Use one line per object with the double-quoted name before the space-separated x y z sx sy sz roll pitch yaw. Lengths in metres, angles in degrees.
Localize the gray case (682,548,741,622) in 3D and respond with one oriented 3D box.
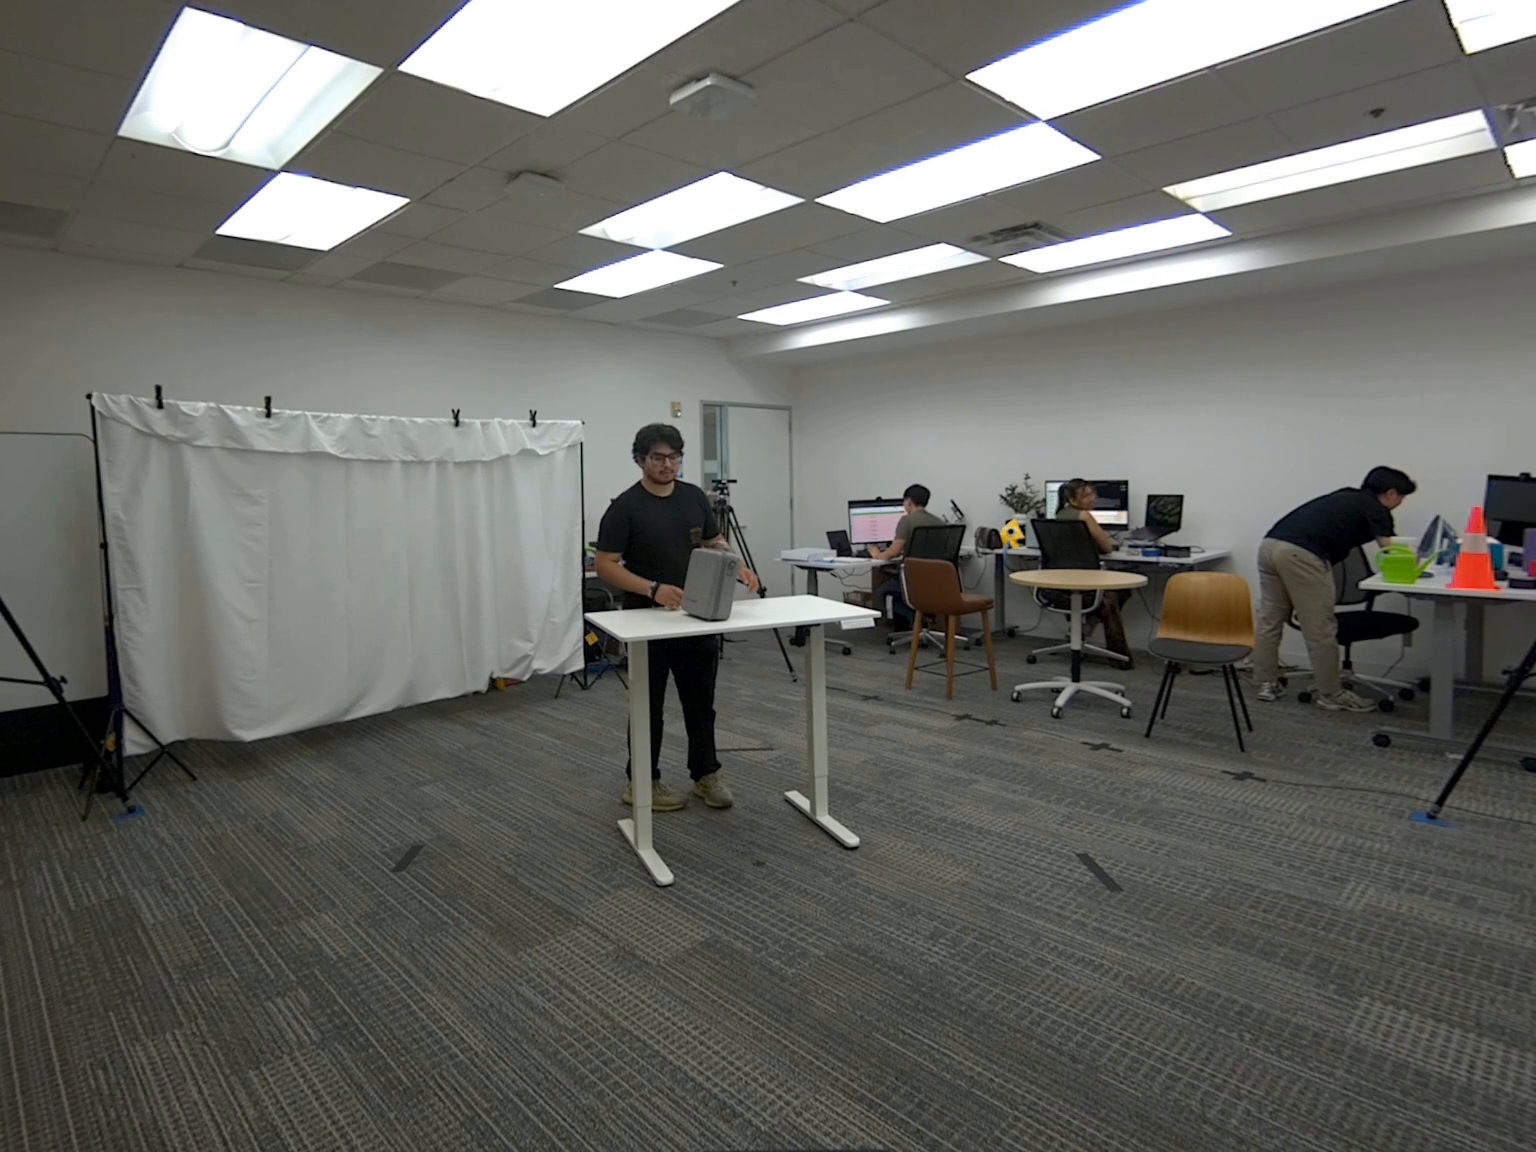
"gray case" -0.218 0.026 3.217 0.101 0.261 0.263 10 -1 -27
